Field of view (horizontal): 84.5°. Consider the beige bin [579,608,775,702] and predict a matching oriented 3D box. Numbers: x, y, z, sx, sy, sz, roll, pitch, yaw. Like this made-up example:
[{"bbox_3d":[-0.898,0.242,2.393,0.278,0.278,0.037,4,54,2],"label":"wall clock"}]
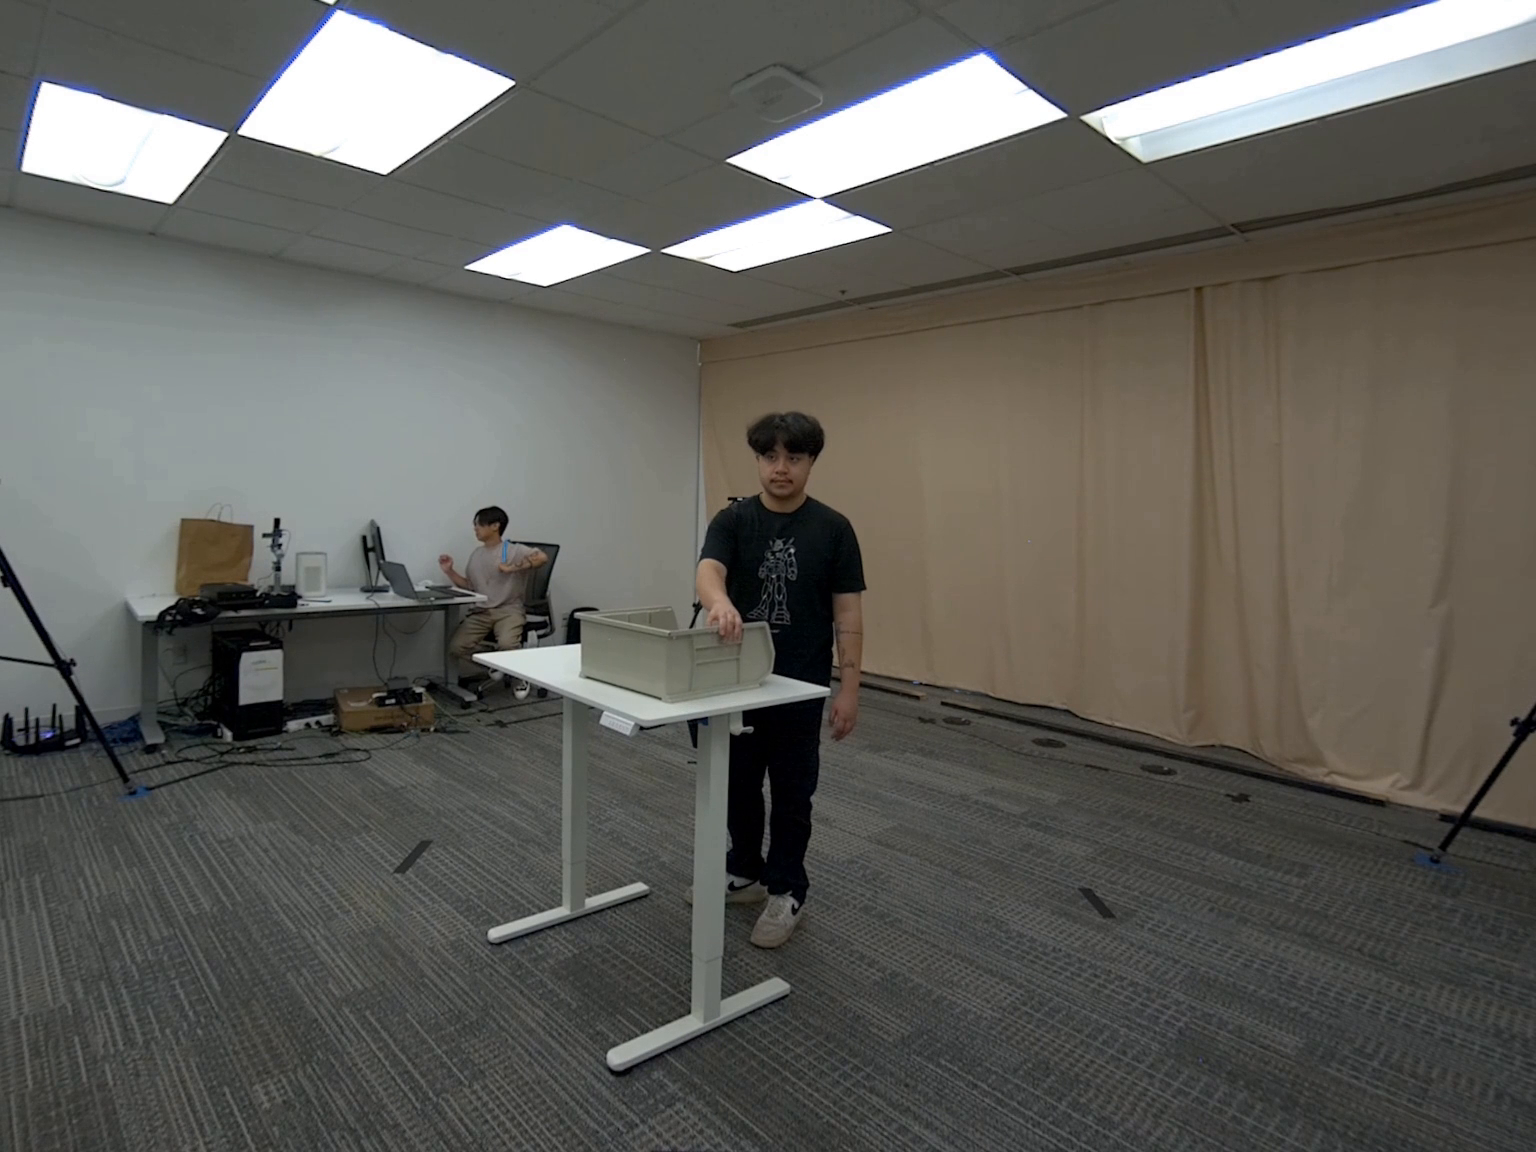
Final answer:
[{"bbox_3d":[-0.266,0.206,2.322,0.369,0.188,0.433,-4,7,-43],"label":"beige bin"}]
